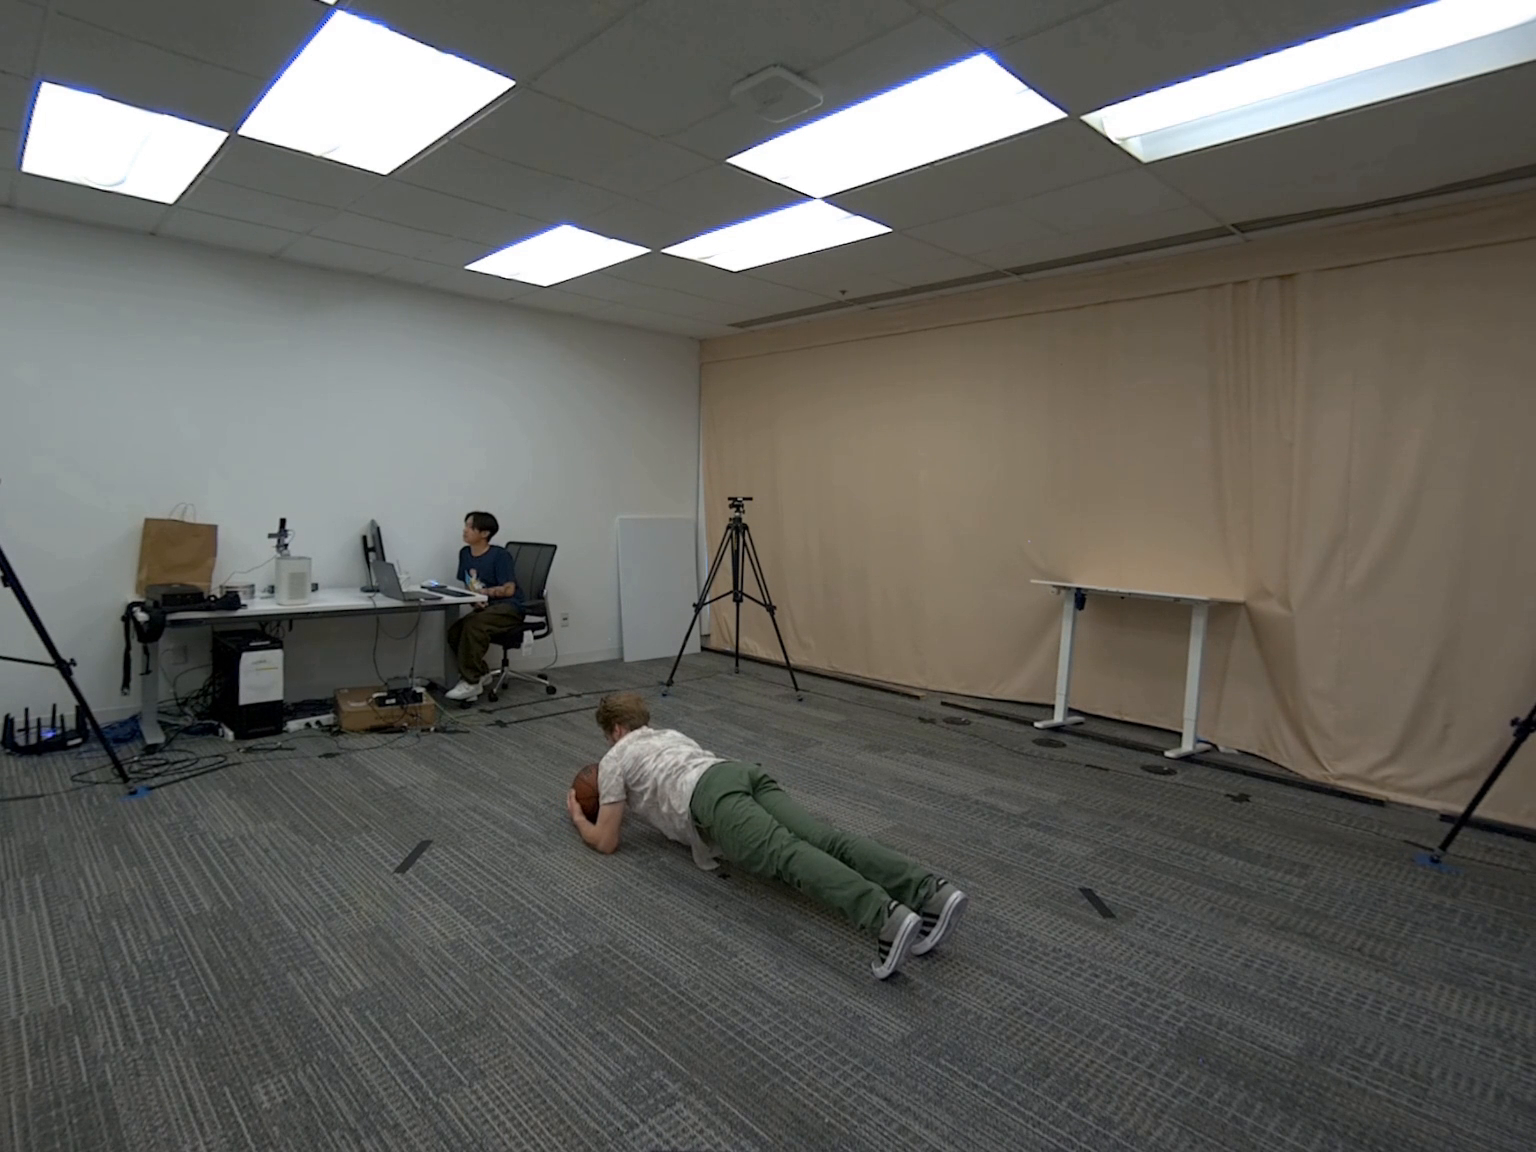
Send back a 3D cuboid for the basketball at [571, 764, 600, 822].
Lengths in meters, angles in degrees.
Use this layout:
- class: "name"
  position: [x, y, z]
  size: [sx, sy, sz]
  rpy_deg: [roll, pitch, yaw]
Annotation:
- class: "basketball"
  position: [-0.727, 0.921, 3.627]
  size: [0.236, 0.235, 0.237]
  rpy_deg: [1, 4, -1]
